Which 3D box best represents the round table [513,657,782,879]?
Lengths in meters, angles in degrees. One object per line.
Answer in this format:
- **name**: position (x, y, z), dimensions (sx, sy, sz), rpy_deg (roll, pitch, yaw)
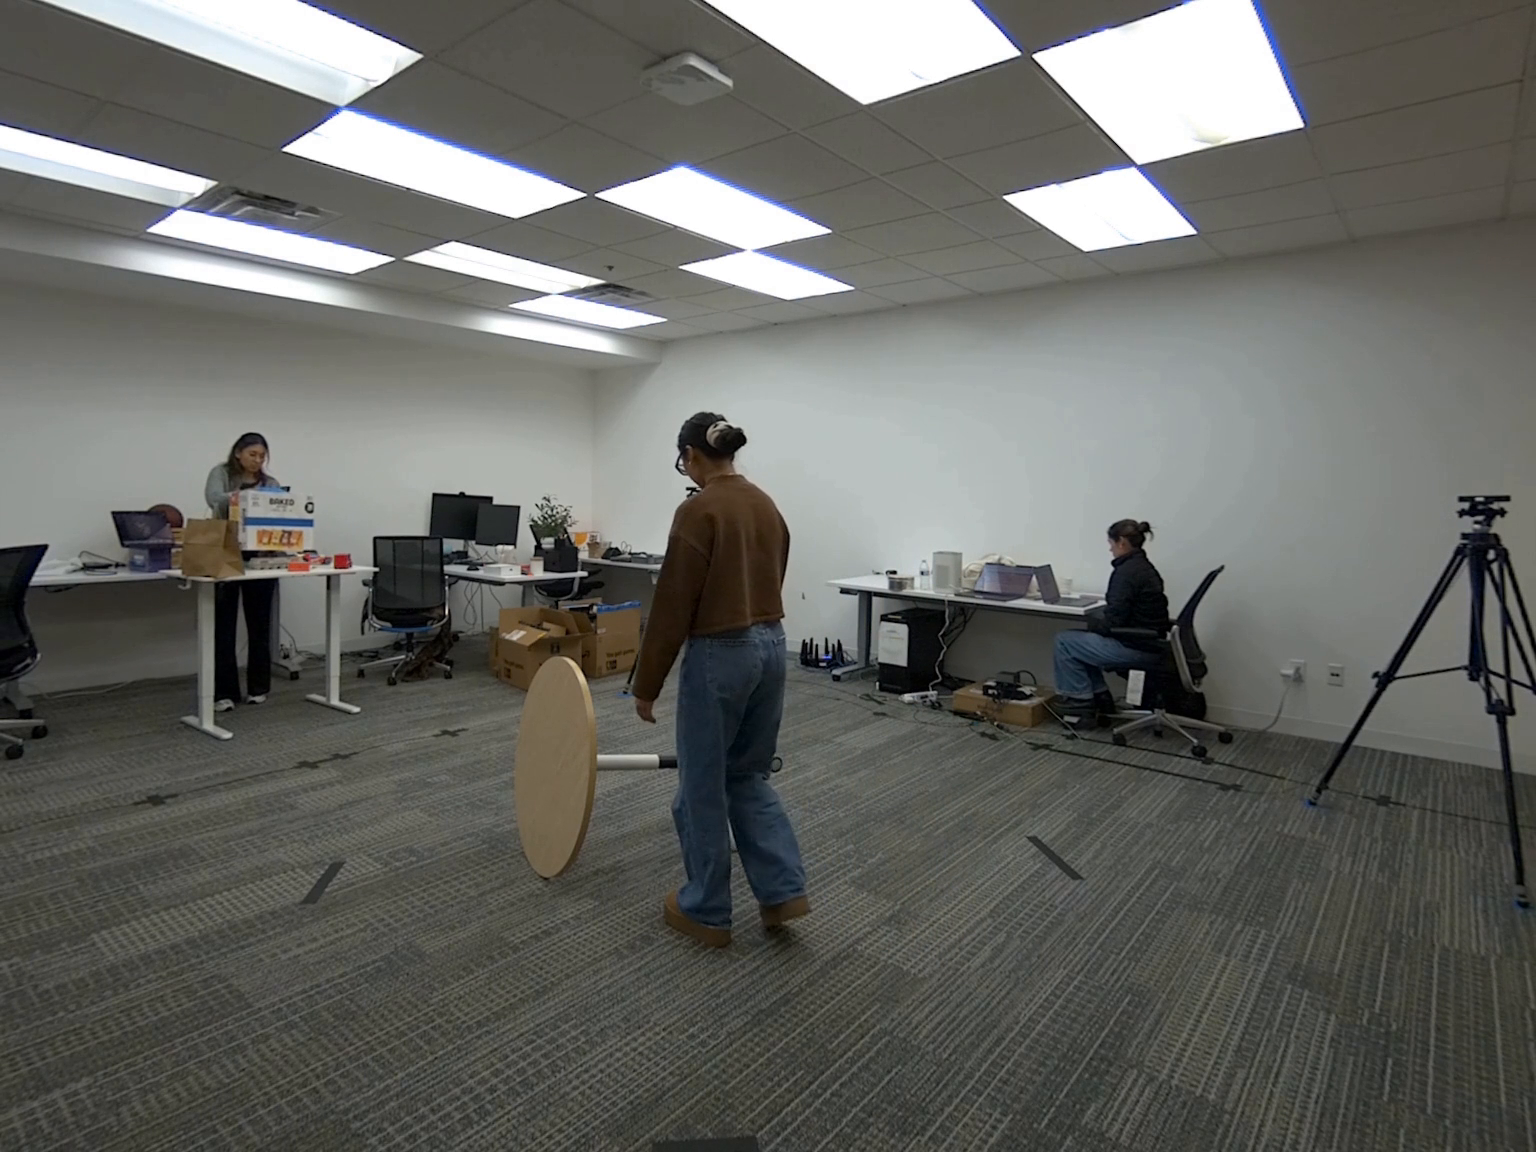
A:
- **round table**: position (-0.483, 0.710, 3.275), dimensions (0.769, 0.764, 0.788), rpy_deg (8, 0, -32)
